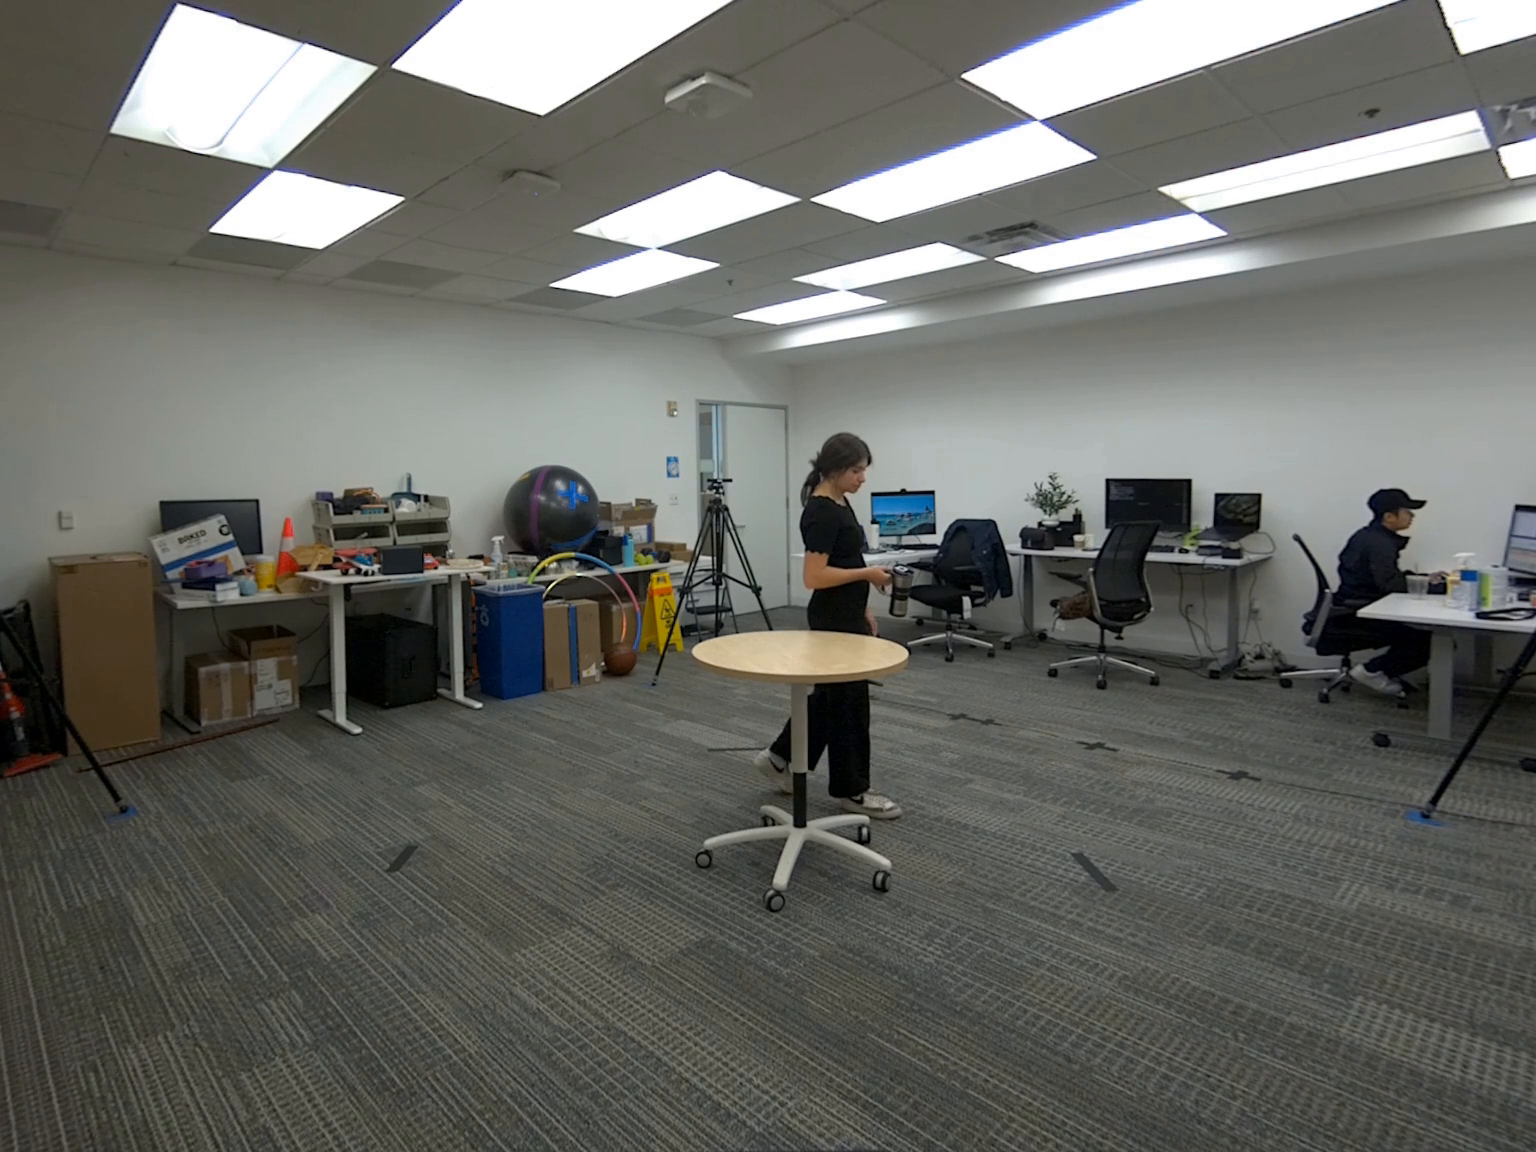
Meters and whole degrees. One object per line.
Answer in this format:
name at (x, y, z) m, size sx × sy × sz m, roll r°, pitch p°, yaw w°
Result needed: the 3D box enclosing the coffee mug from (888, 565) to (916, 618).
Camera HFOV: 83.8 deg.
coffee mug at (0.506, 0.063, 3.465) m, size 0.121 × 0.200 × 0.090 m, roll 6°, pitch 20°, yaw -6°
